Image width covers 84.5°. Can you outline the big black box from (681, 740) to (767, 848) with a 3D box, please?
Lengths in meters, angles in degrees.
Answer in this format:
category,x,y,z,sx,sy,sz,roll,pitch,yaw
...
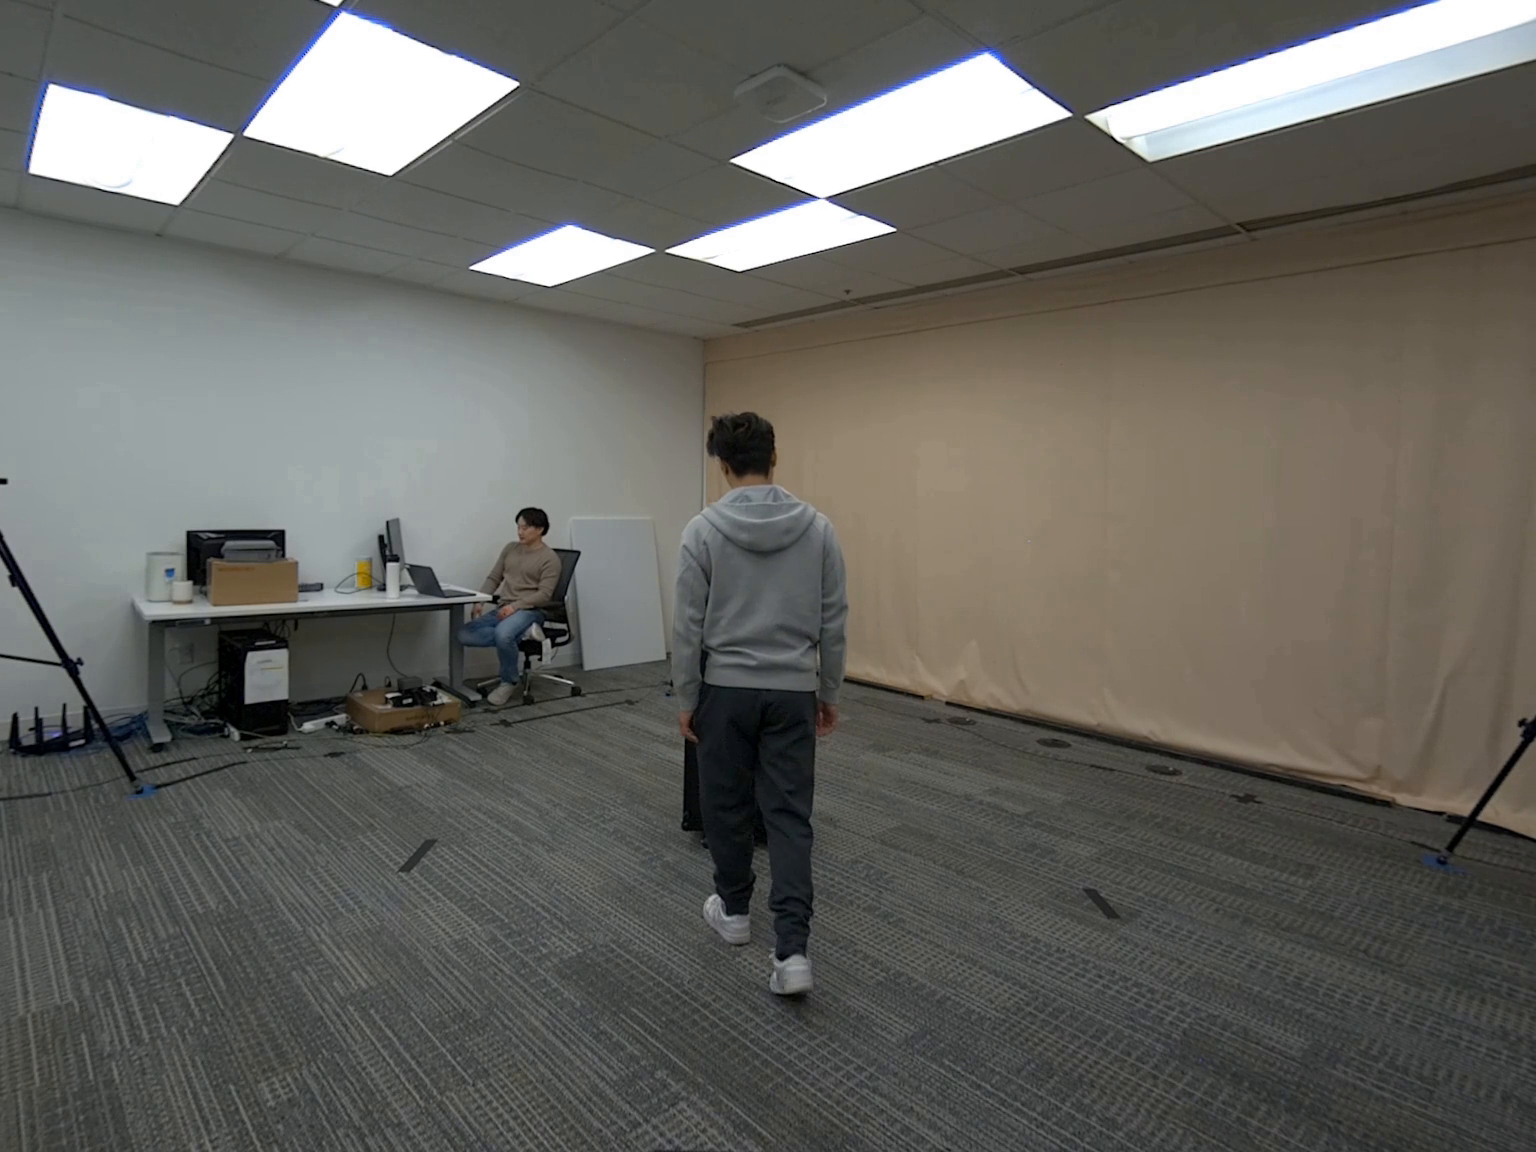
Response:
category,x,y,z,sx,sy,sz,roll,pitch,yaw
big black box,-0.092,0.657,3.478,0.522,0.859,0.397,3,4,1
